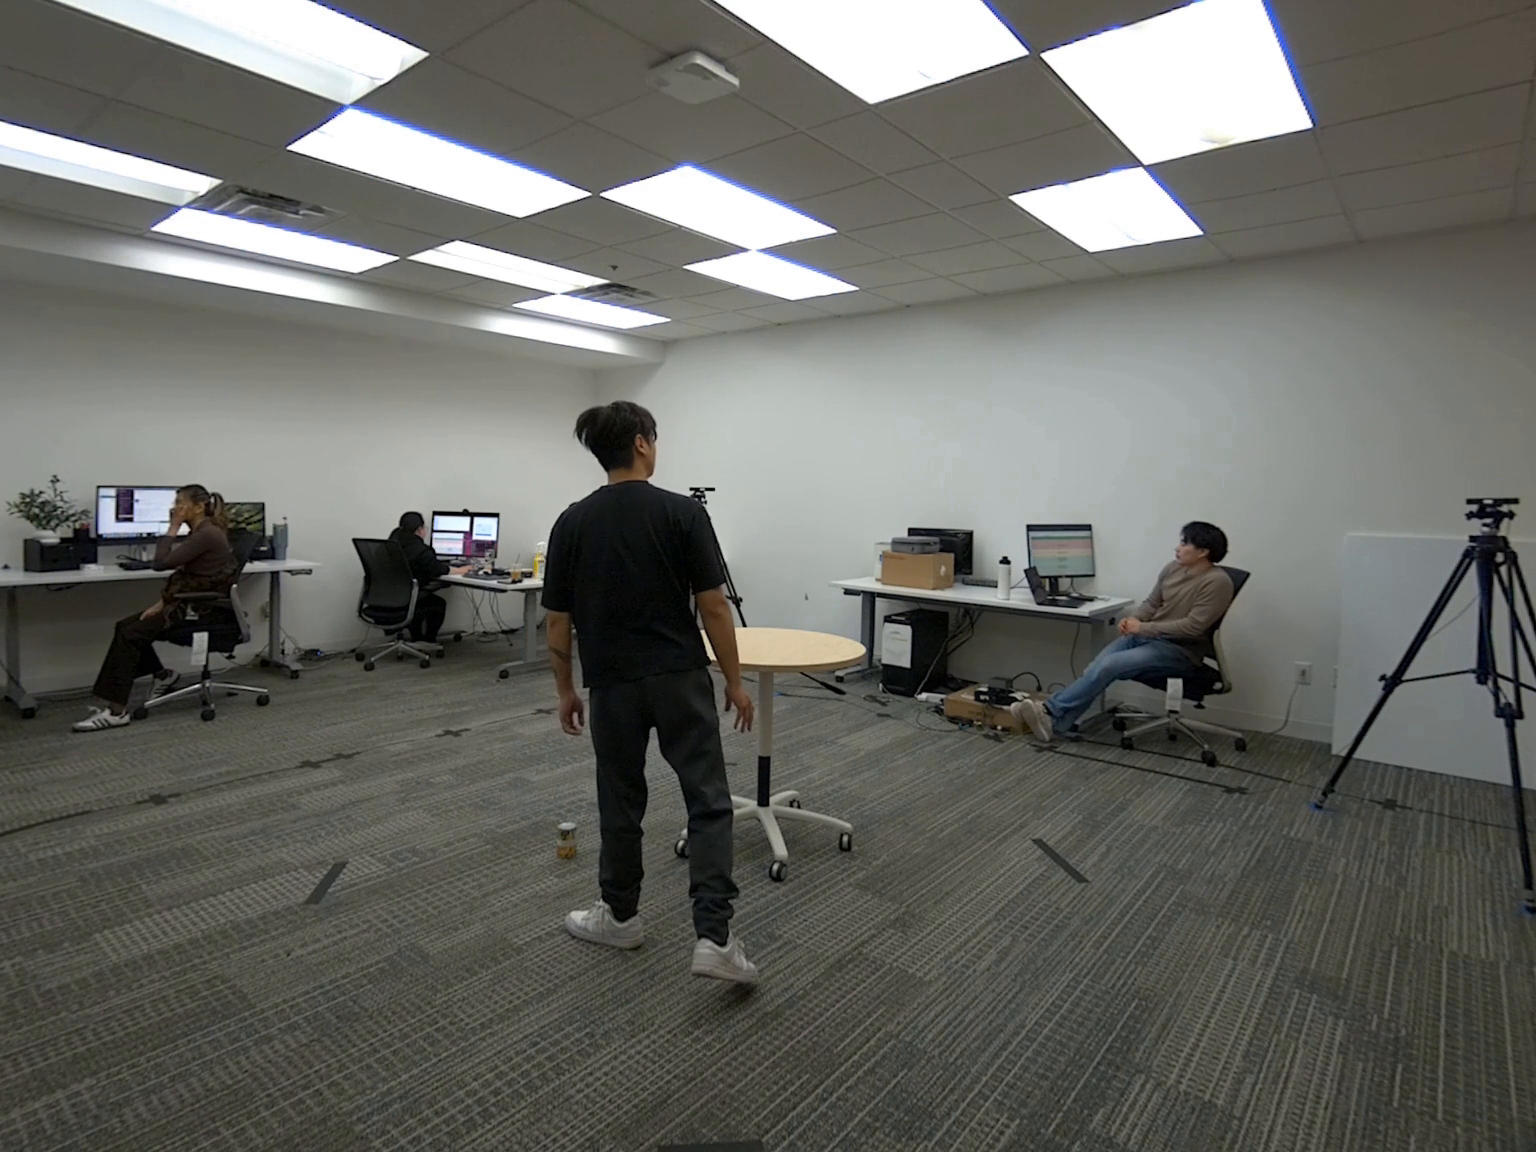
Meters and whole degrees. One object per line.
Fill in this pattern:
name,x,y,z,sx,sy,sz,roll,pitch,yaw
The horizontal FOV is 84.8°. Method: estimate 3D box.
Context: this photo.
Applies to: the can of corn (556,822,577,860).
can of corn,-0.770,0.995,3.197,0.074,0.111,0.074,1,4,-2
